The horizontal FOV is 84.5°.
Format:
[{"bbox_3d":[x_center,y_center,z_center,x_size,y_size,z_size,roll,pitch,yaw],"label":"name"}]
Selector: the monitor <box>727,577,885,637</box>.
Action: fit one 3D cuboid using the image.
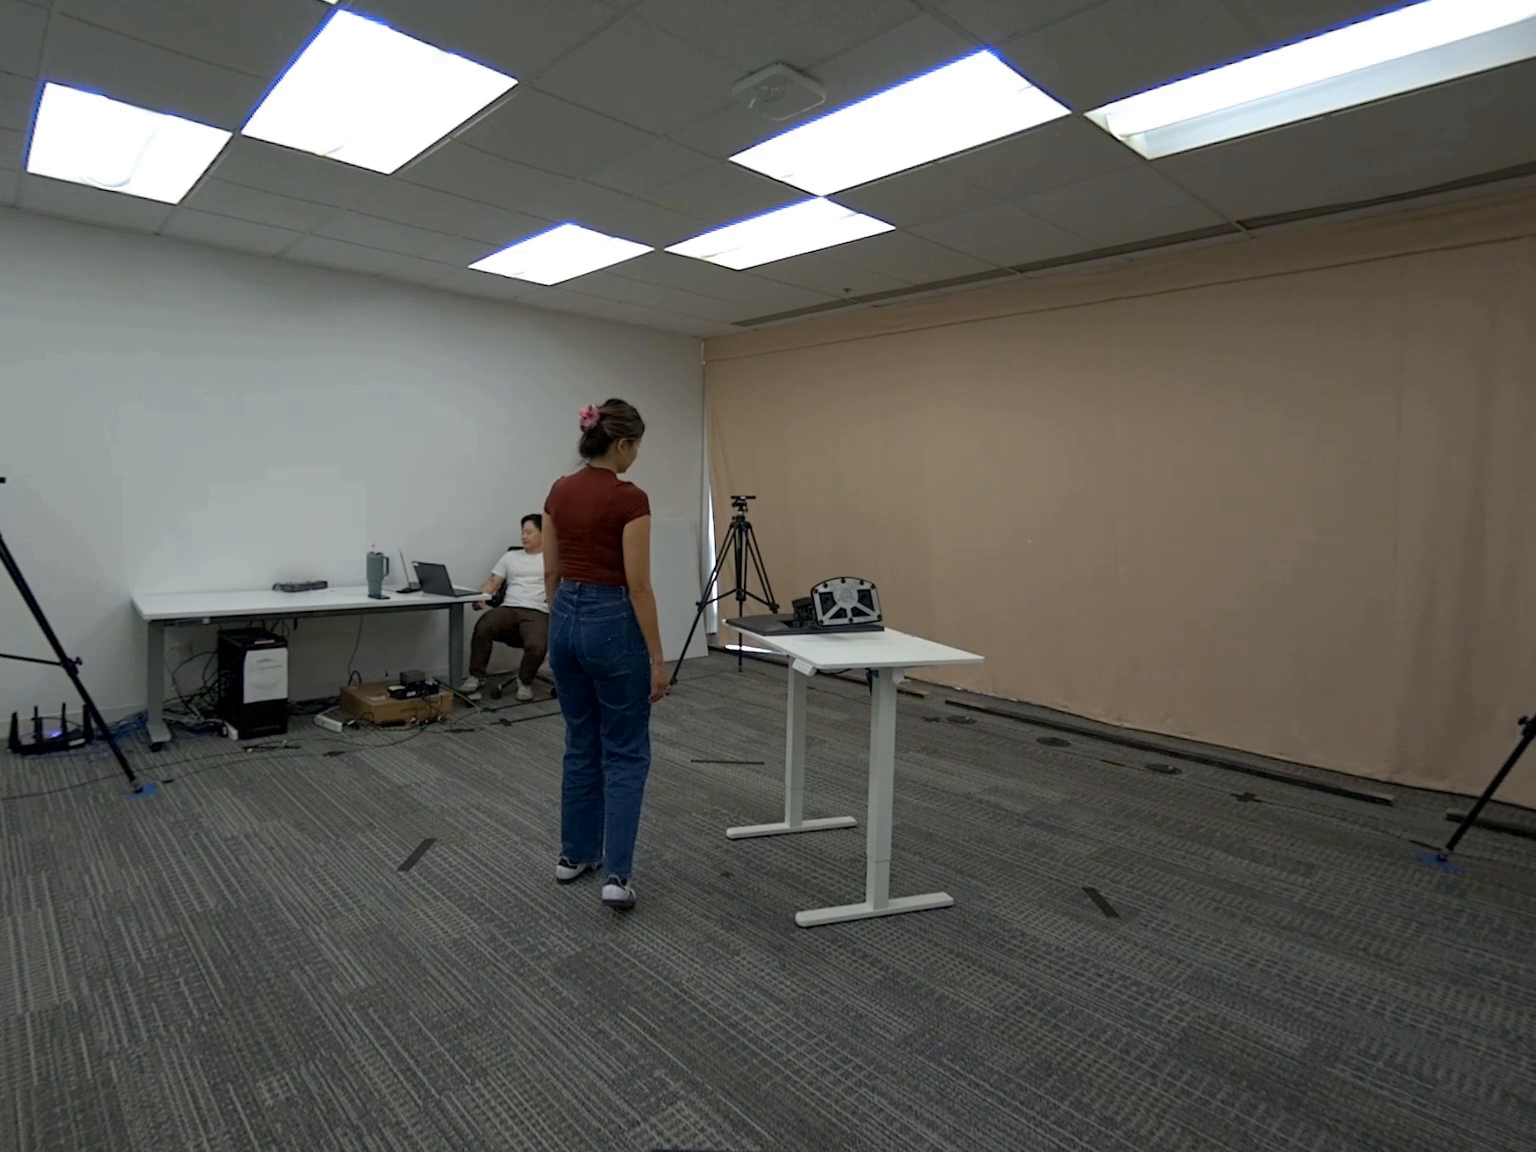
[{"bbox_3d":[0.174,0.149,3.296,0.530,0.189,0.526,0,-12,-24],"label":"monitor"}]
